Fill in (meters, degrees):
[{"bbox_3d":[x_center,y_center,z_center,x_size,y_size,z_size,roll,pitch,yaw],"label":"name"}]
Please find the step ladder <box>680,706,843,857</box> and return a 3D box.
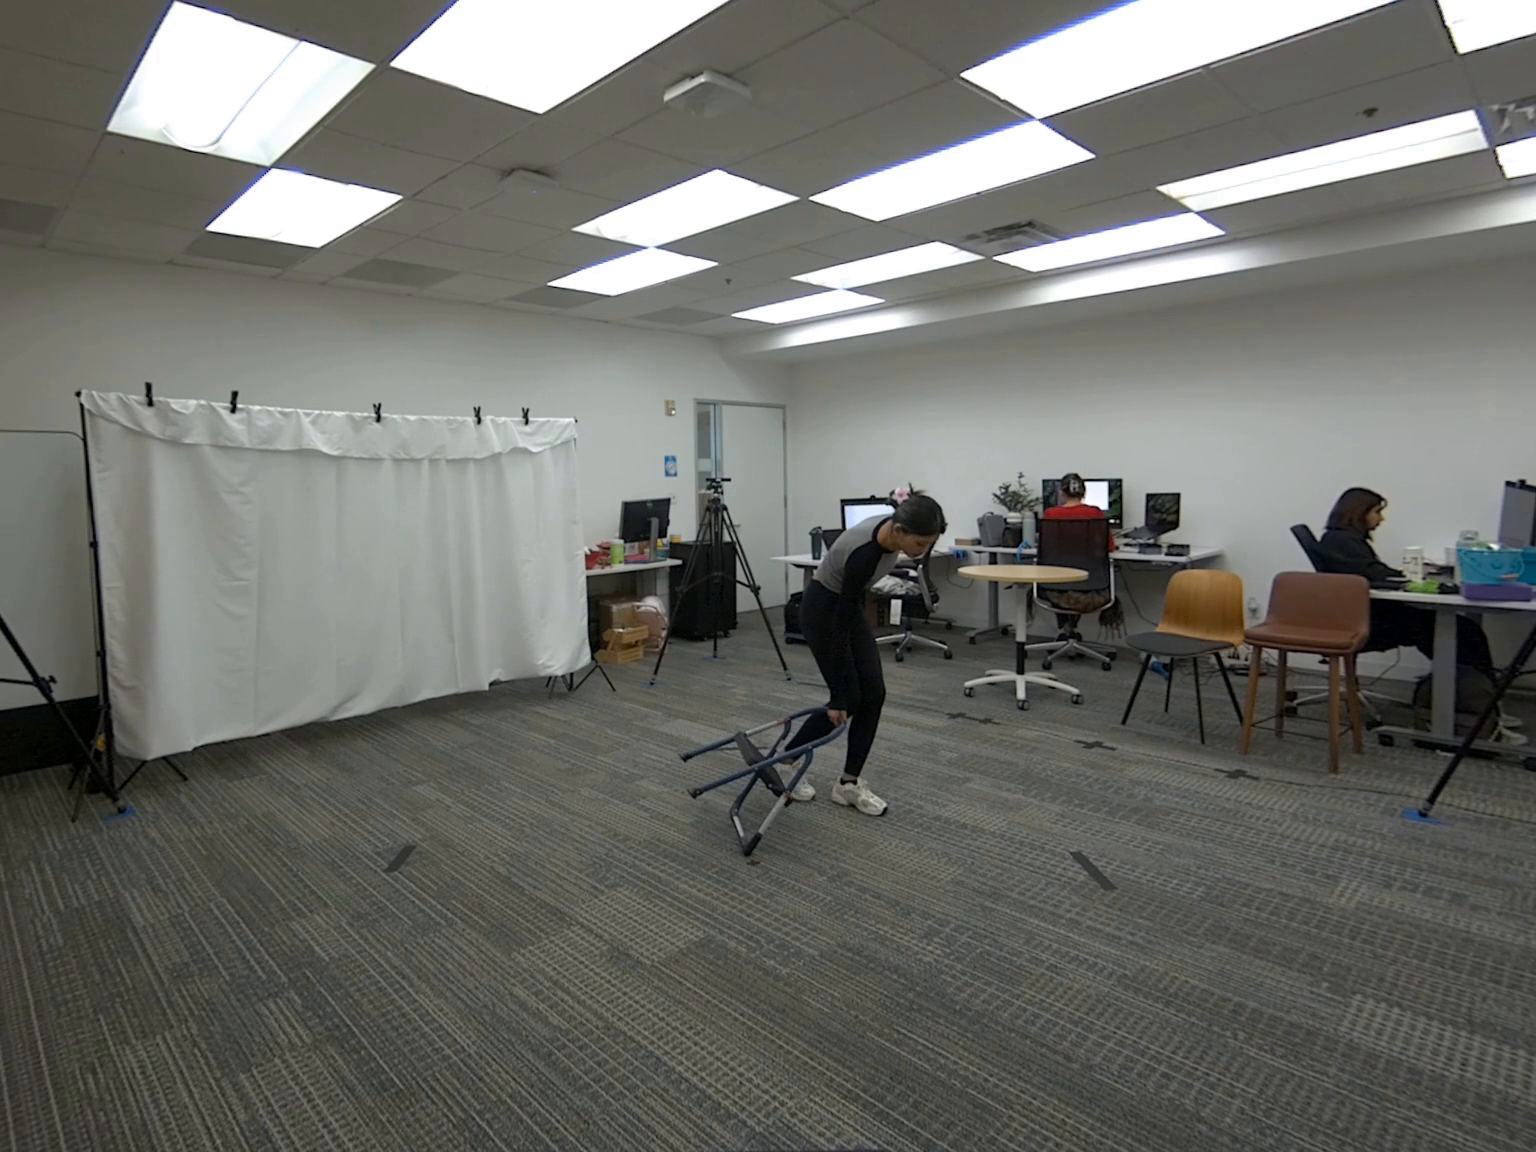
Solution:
[{"bbox_3d":[0.010,0.695,3.348,0.605,0.345,0.436,-41,10,-3],"label":"step ladder"}]
